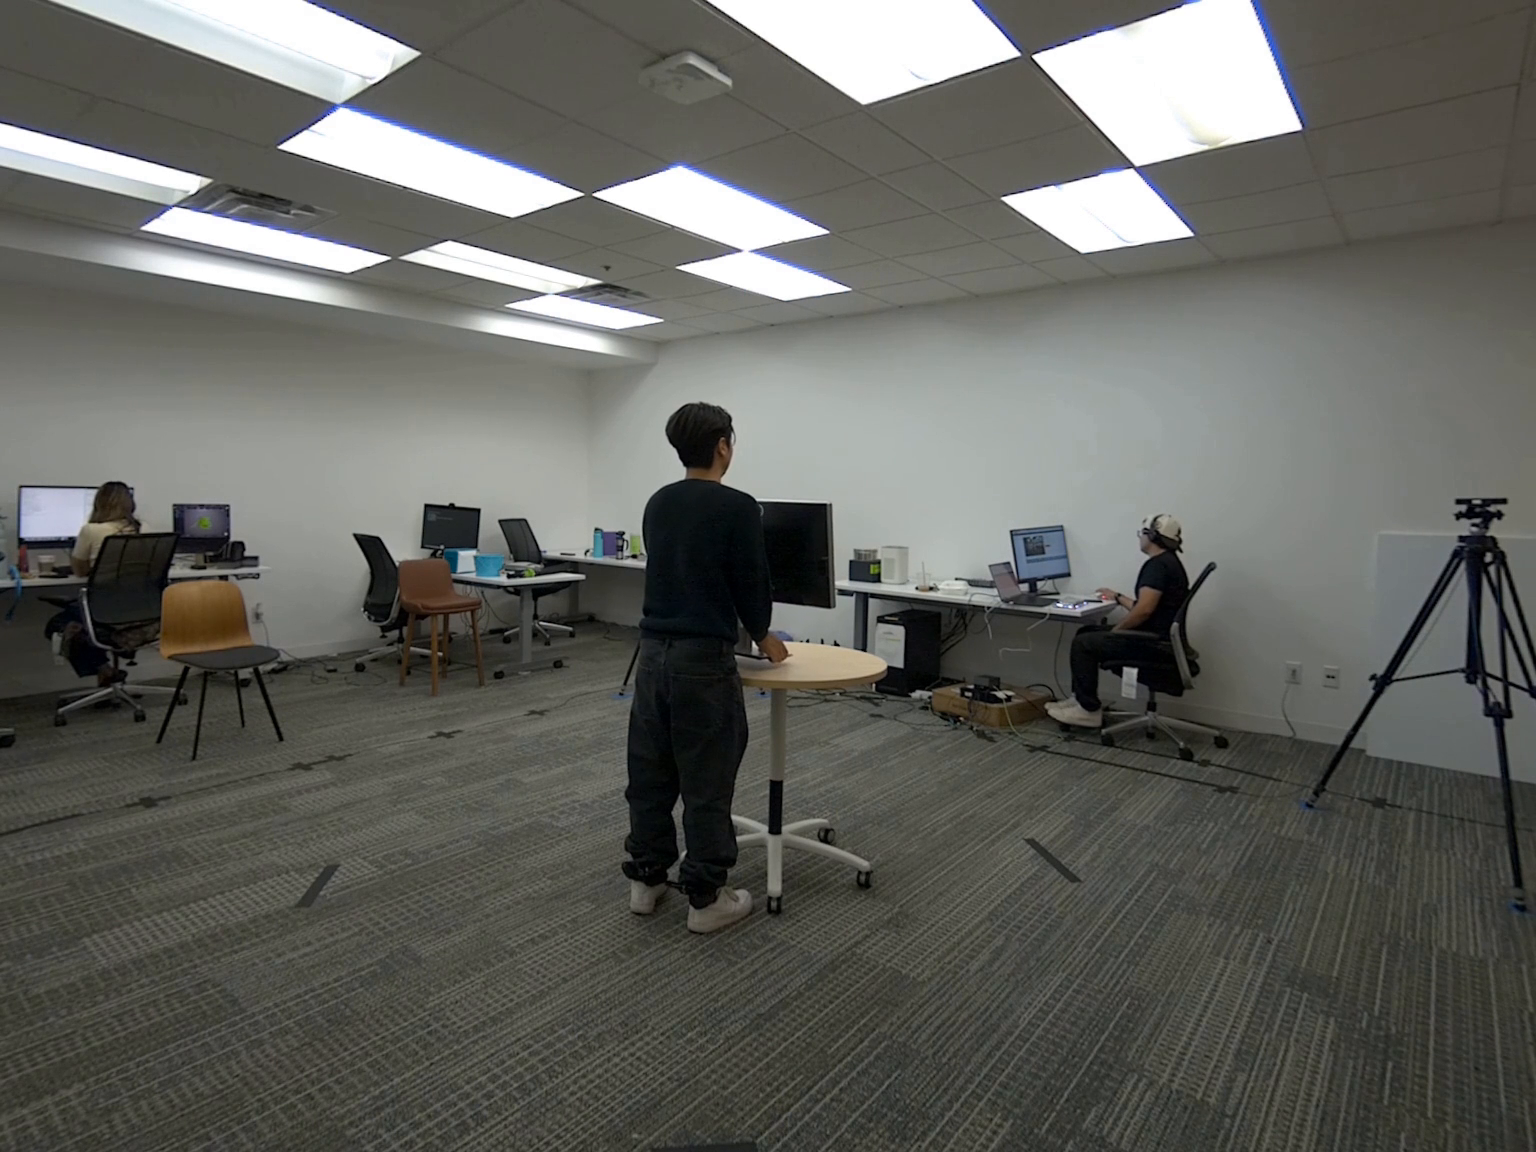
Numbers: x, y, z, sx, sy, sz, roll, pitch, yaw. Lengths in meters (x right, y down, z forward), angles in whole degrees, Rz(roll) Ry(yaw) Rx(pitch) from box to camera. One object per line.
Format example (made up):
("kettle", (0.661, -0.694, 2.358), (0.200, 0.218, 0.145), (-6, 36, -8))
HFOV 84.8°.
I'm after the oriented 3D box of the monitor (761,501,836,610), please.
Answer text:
("monitor", (-0.049, 0.004, 2.981), (0.557, 0.523, 0.181), (5, 0, 35))
